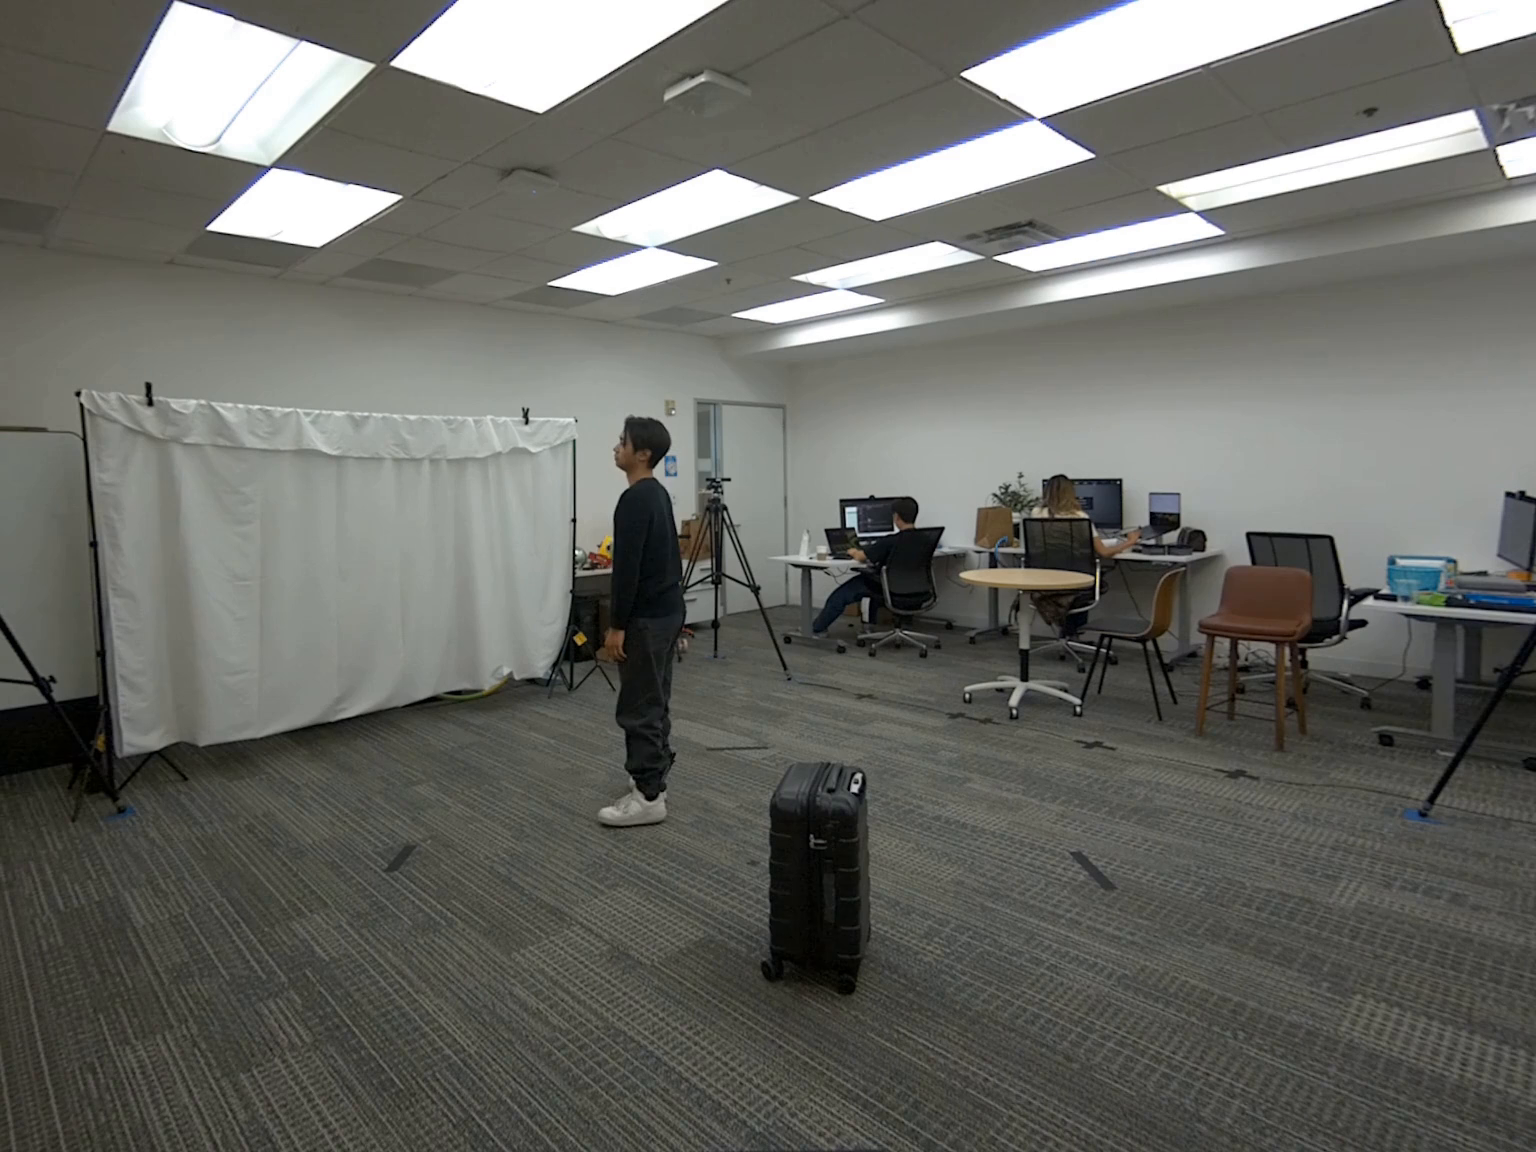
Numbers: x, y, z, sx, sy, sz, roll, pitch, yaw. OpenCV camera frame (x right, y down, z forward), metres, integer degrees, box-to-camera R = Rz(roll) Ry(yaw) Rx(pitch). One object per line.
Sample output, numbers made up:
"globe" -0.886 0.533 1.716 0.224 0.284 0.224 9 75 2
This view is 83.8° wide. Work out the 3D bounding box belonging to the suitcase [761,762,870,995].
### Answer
"suitcase" 0.166 0.839 2.461 0.252 0.547 0.372 -1 5 13
